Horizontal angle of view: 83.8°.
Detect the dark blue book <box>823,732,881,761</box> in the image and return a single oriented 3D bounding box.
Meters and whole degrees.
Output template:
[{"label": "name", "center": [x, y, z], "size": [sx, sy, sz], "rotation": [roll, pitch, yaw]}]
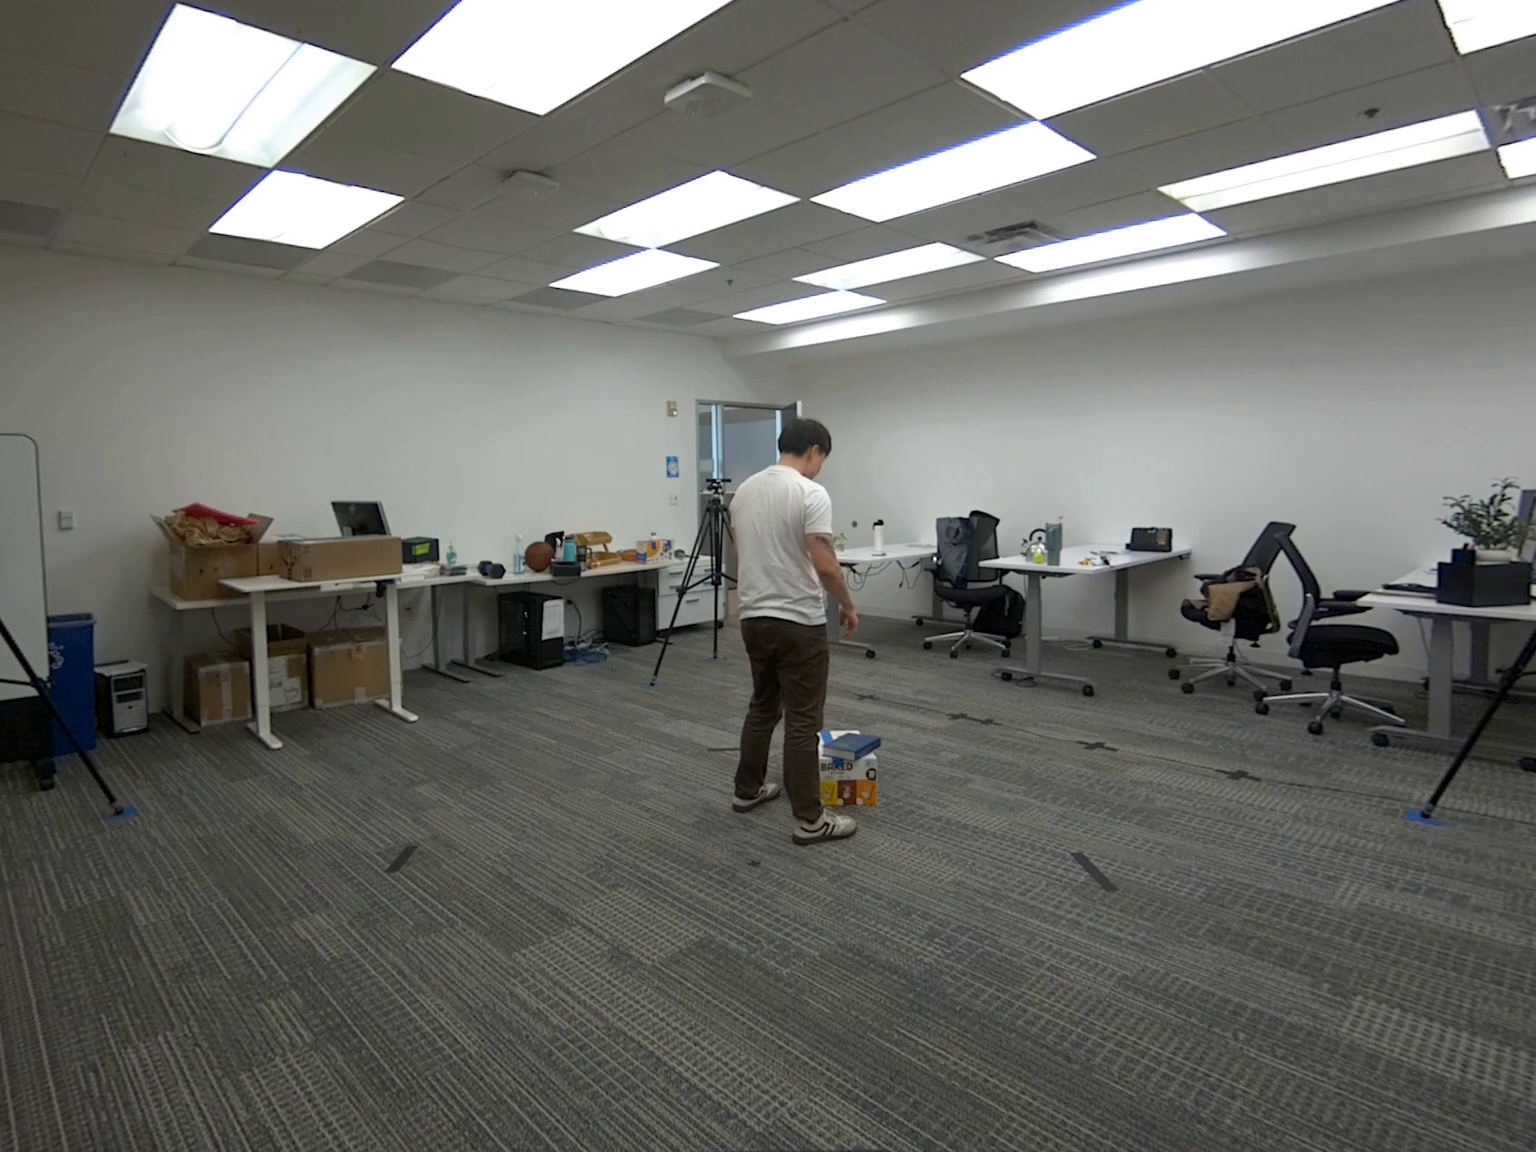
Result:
[{"label": "dark blue book", "center": [0.363, 0.747, 3.738], "size": [0.168, 0.045, 0.239], "rotation": [1, 6, 34]}]
